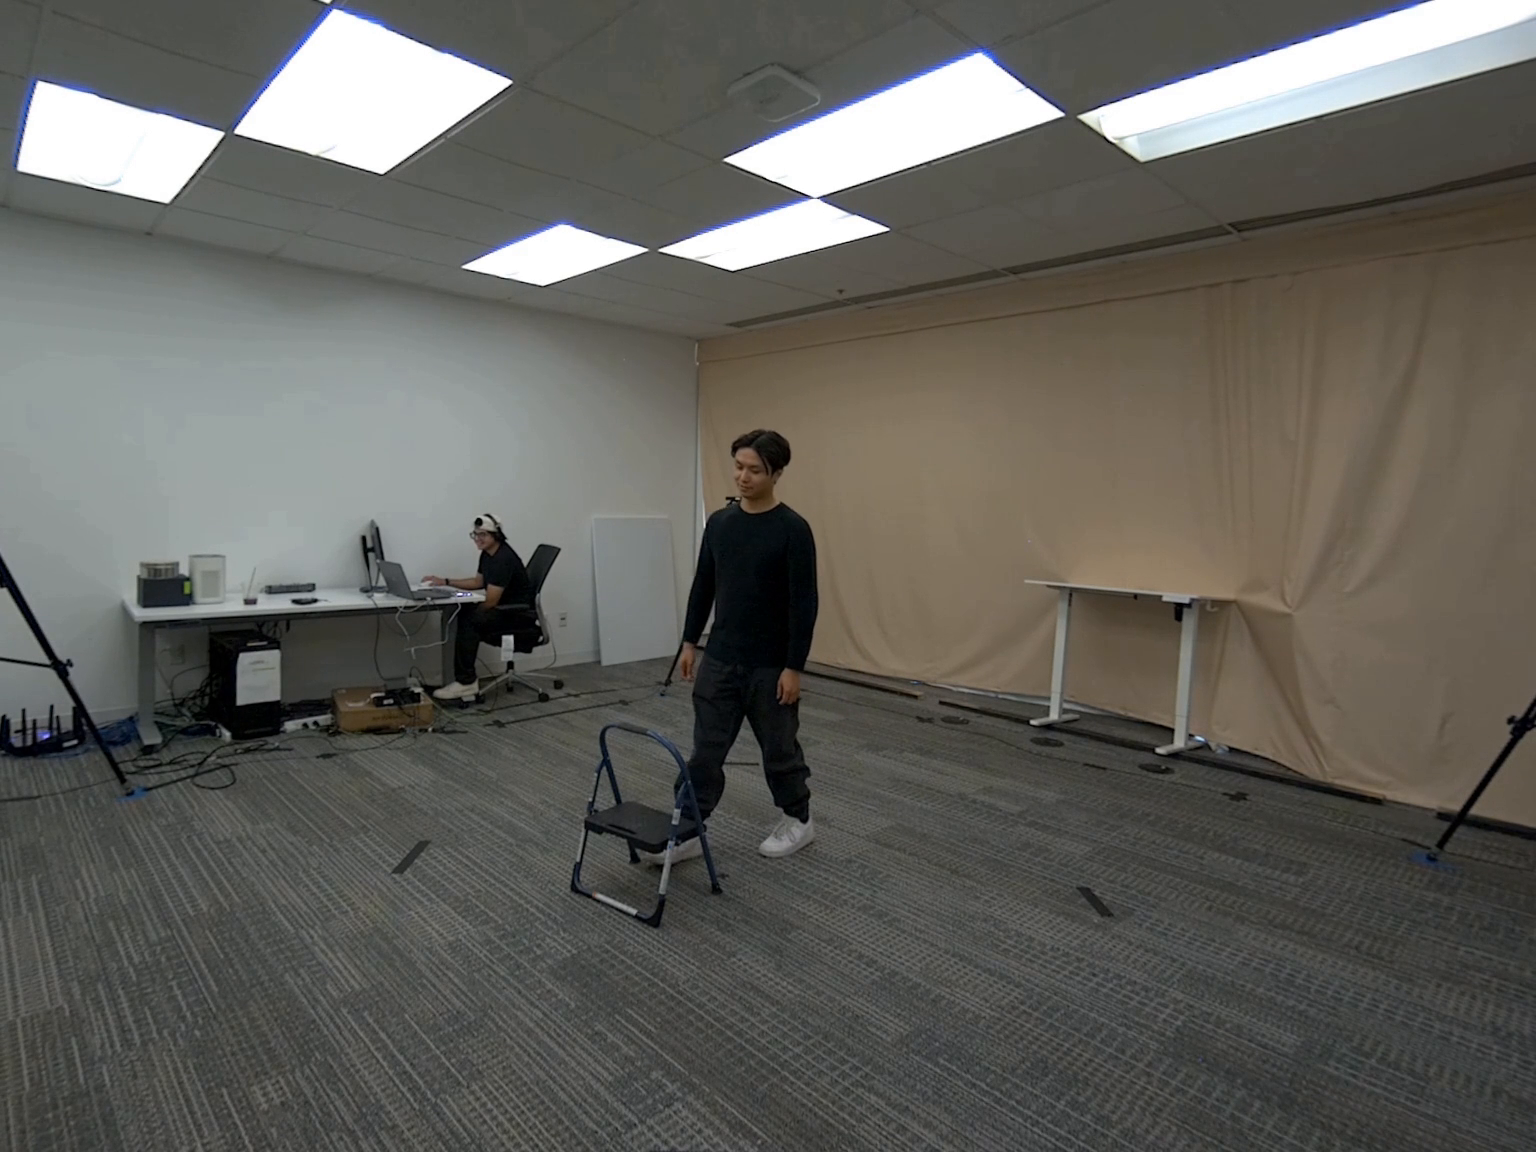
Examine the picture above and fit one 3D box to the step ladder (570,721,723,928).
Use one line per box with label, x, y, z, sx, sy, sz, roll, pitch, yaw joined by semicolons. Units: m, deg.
step ladder;-0.436;0.811;2.950;0.441;0.604;0.342;4;4;36
